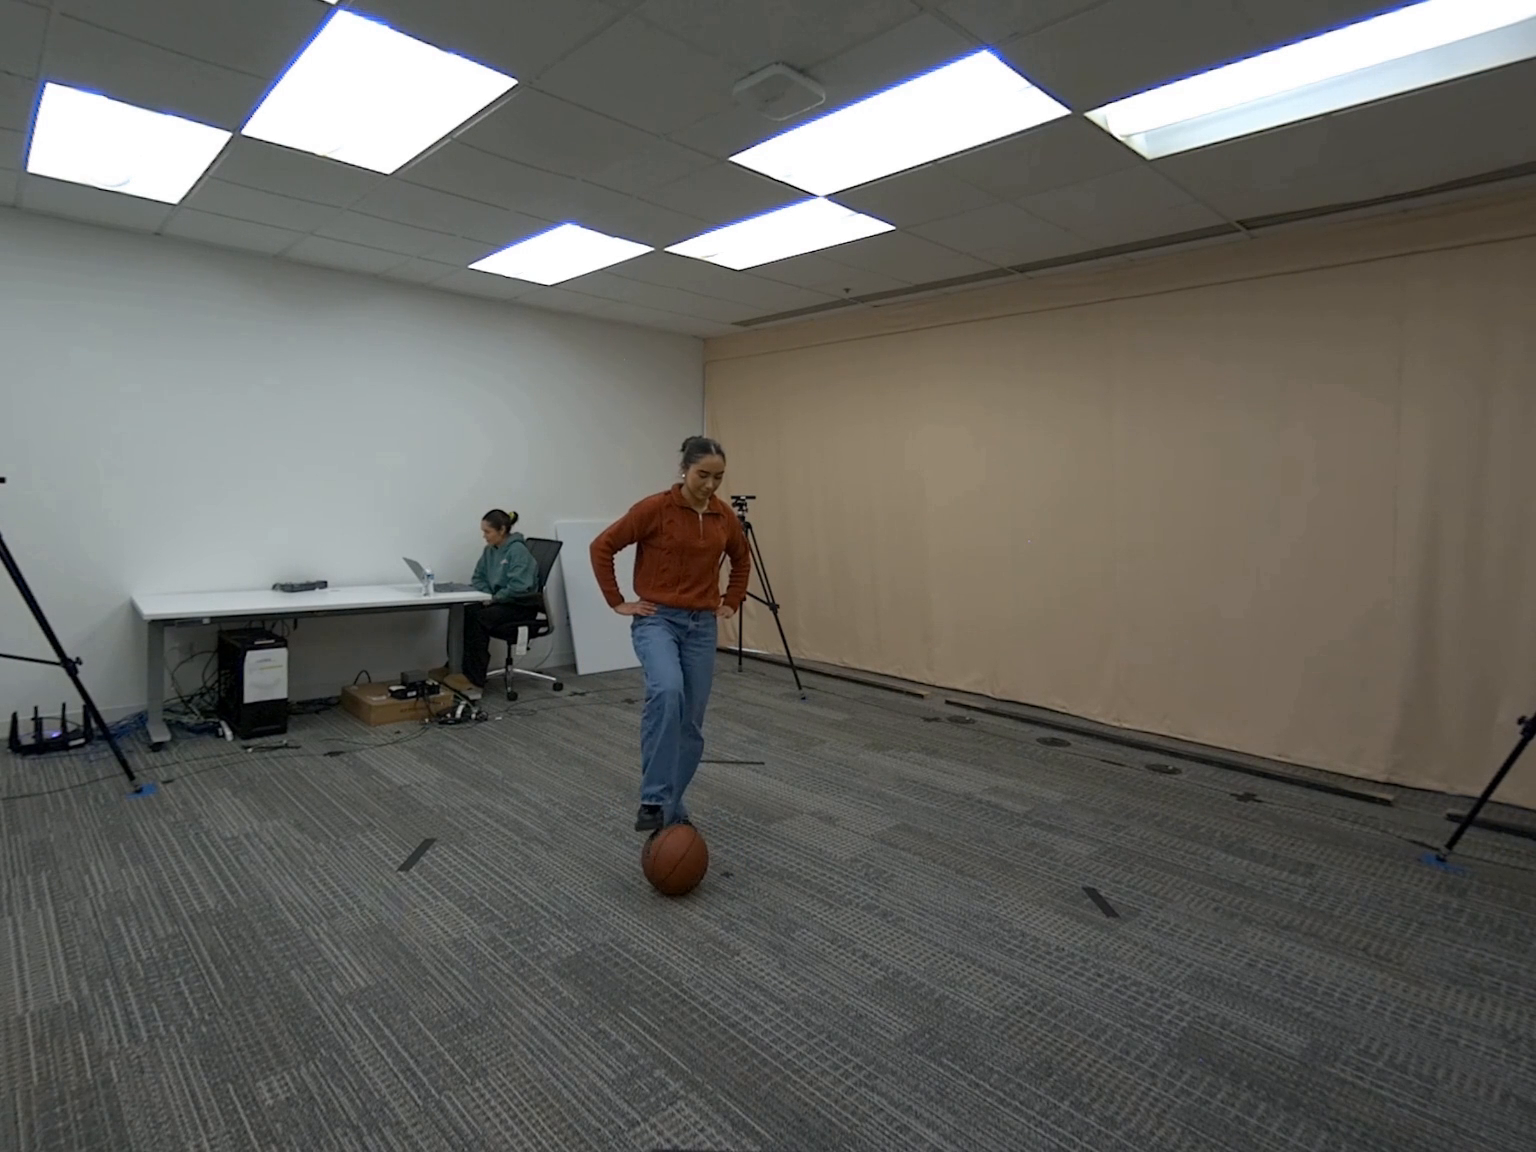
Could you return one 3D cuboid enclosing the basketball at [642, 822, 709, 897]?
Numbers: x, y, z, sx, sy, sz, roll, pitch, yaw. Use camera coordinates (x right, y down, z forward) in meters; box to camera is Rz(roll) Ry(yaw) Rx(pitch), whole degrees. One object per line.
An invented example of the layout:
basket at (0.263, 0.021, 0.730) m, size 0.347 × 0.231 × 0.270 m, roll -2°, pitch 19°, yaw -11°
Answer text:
basketball at (-0.323, 0.994, 2.961) m, size 0.236 × 0.235 × 0.237 m, roll 1°, pitch 4°, yaw -1°
